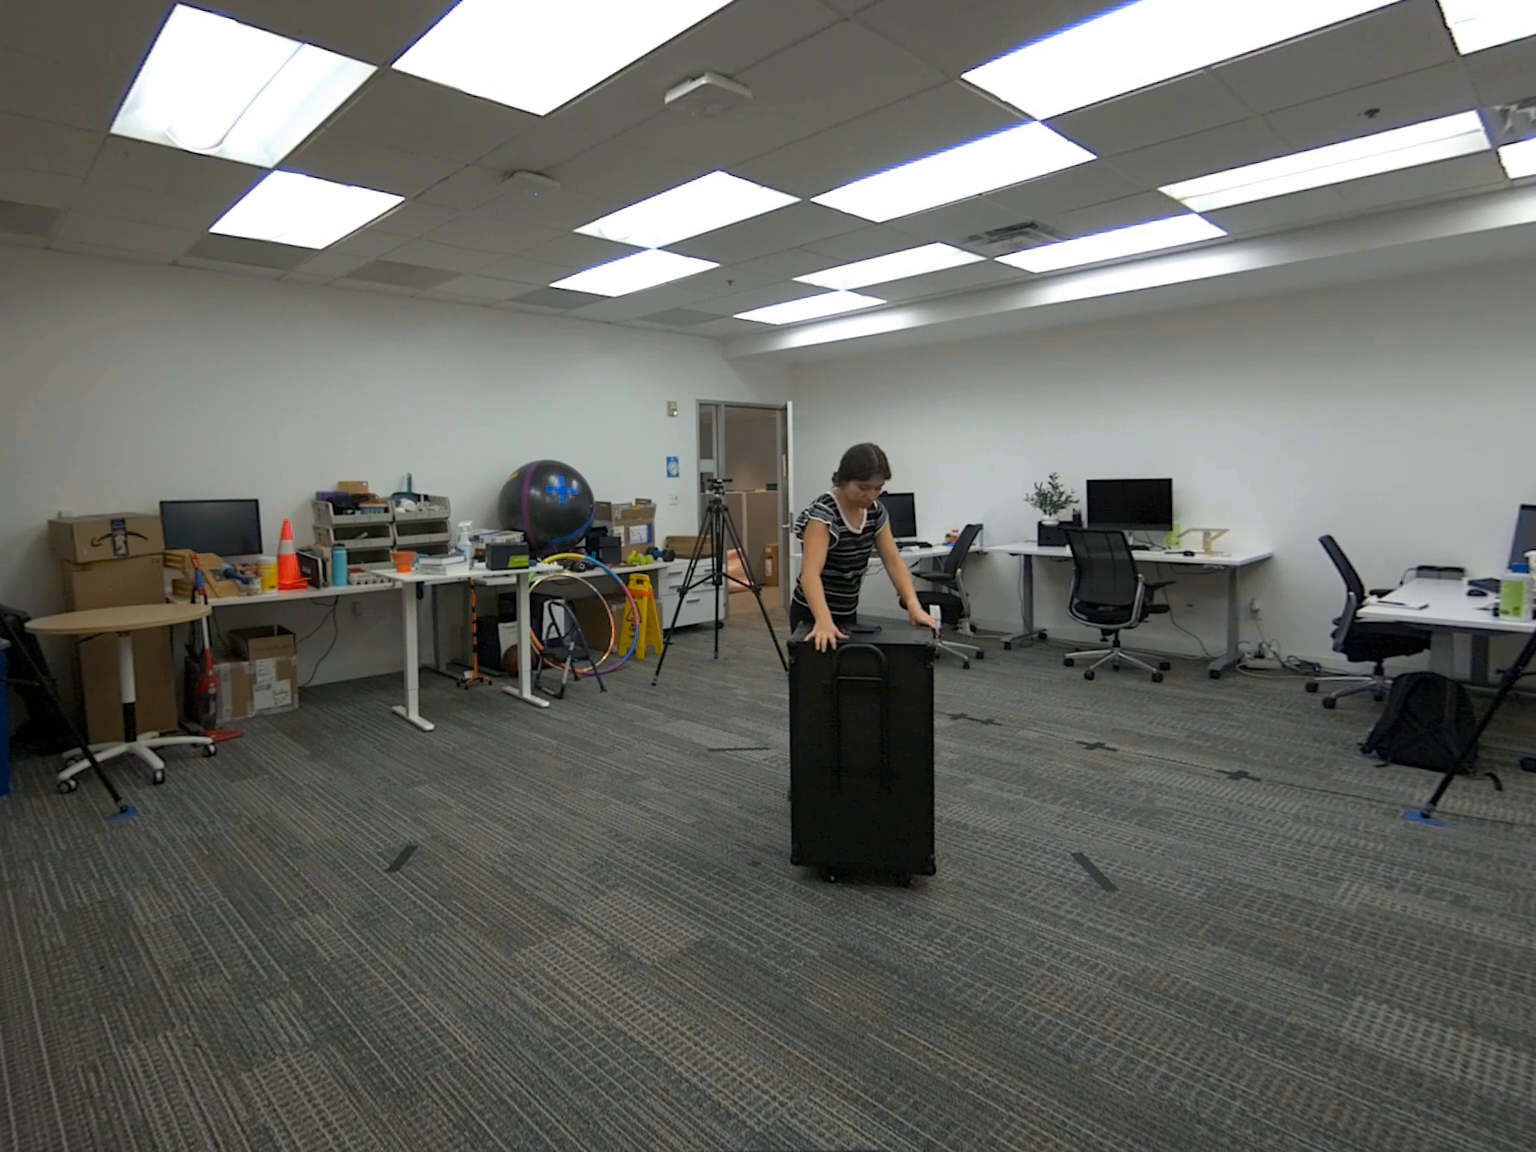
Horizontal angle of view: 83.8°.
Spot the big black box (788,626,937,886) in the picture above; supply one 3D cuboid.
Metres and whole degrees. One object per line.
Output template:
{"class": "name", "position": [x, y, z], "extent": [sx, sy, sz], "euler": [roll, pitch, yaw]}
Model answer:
{"class": "big black box", "position": [0.346, 0.622, 3.021], "extent": [0.527, 0.858, 0.393], "euler": [0, 5, 11]}
